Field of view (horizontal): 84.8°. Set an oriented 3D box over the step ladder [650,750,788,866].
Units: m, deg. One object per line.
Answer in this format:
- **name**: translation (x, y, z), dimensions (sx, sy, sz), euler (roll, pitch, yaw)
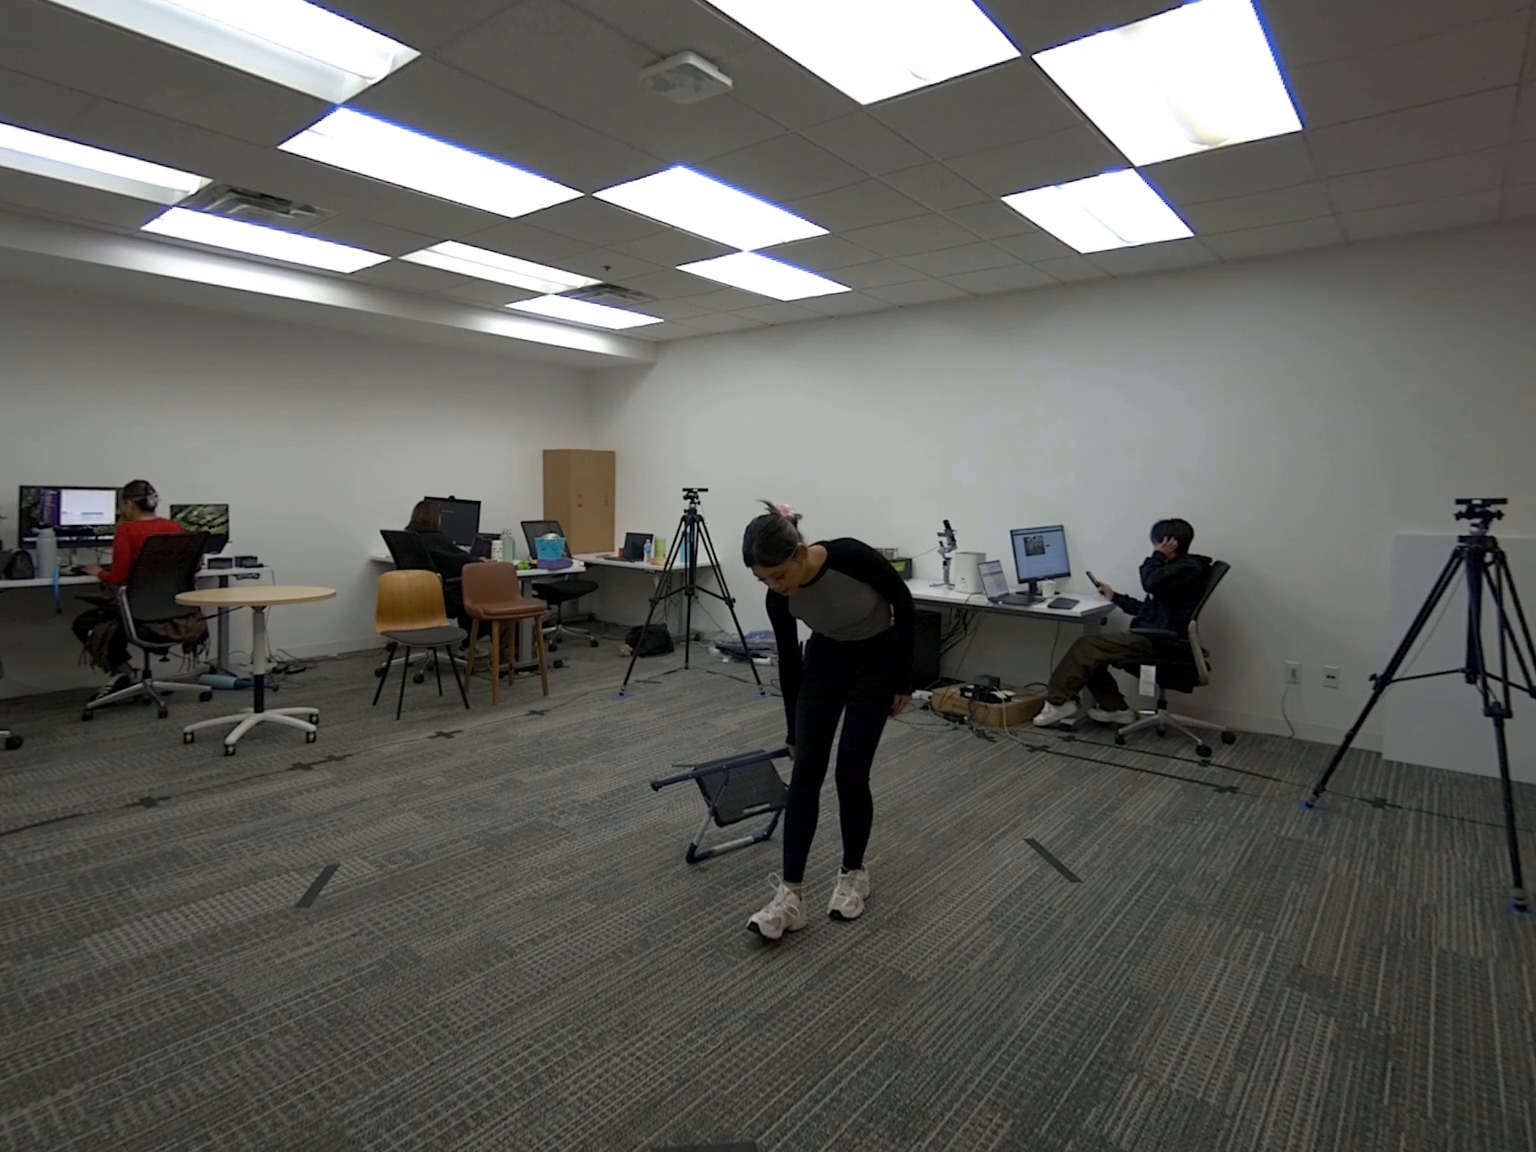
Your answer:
- **step ladder**: translation (-0.092, 0.736, 3.193), dimensions (0.418, 0.362, 0.603), euler (-3, -39, -42)
